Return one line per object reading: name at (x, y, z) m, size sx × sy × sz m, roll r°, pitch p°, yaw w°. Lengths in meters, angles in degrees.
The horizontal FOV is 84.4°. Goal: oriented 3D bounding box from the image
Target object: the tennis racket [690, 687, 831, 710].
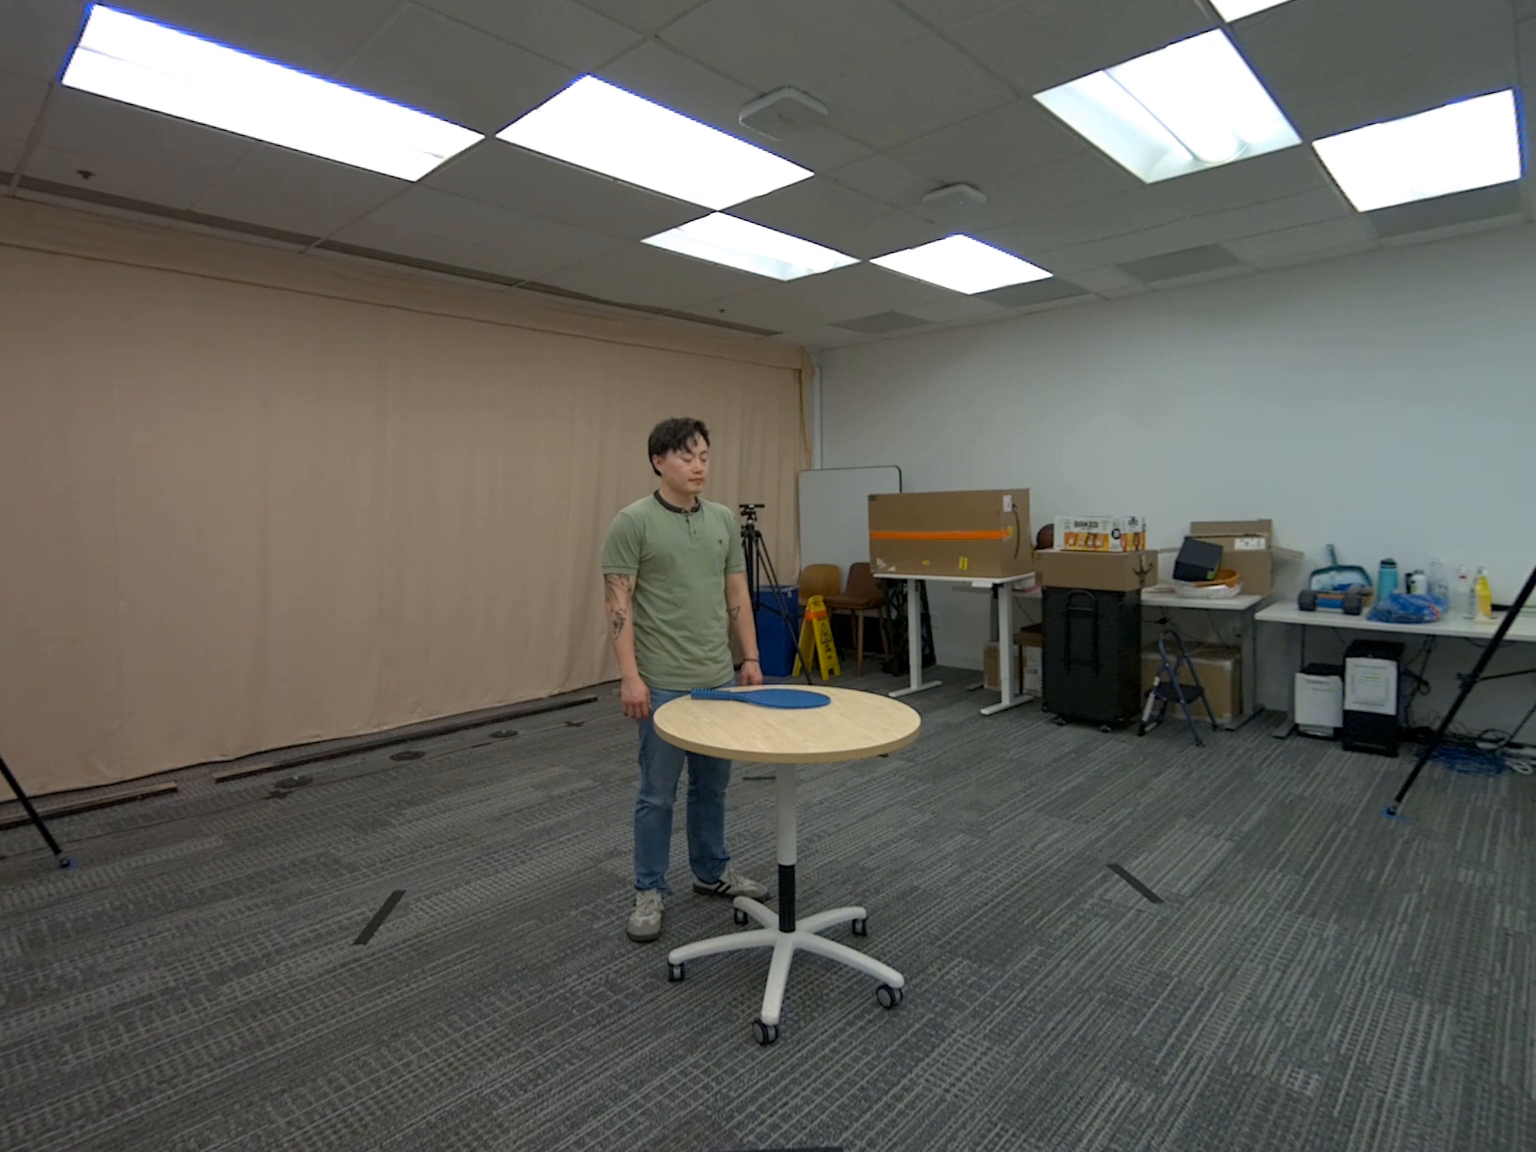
tennis racket at (-0.025, 0.375, 2.616) m, size 0.437 × 0.031 × 0.212 m, roll 2°, pitch 5°, yaw 9°
